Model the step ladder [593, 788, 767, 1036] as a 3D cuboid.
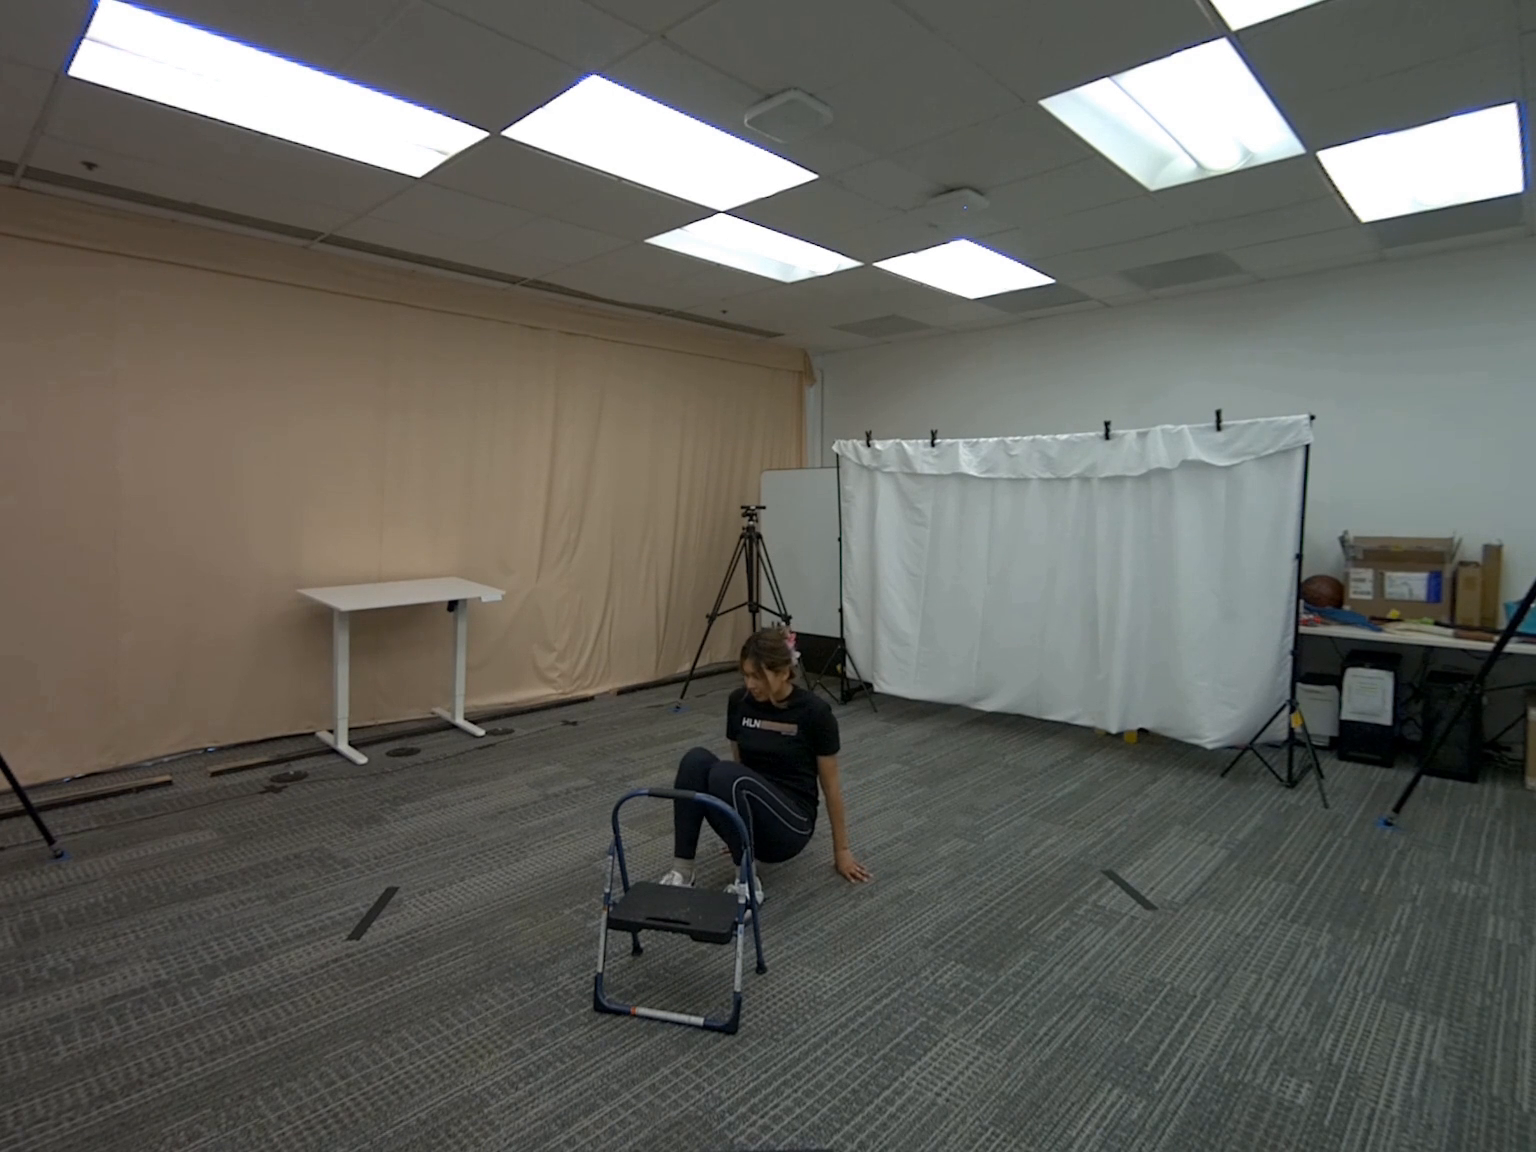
[{"bbox_3d":[-0.251,0.886,2.415,0.438,0.605,0.344,1,3,14],"label":"step ladder"}]
